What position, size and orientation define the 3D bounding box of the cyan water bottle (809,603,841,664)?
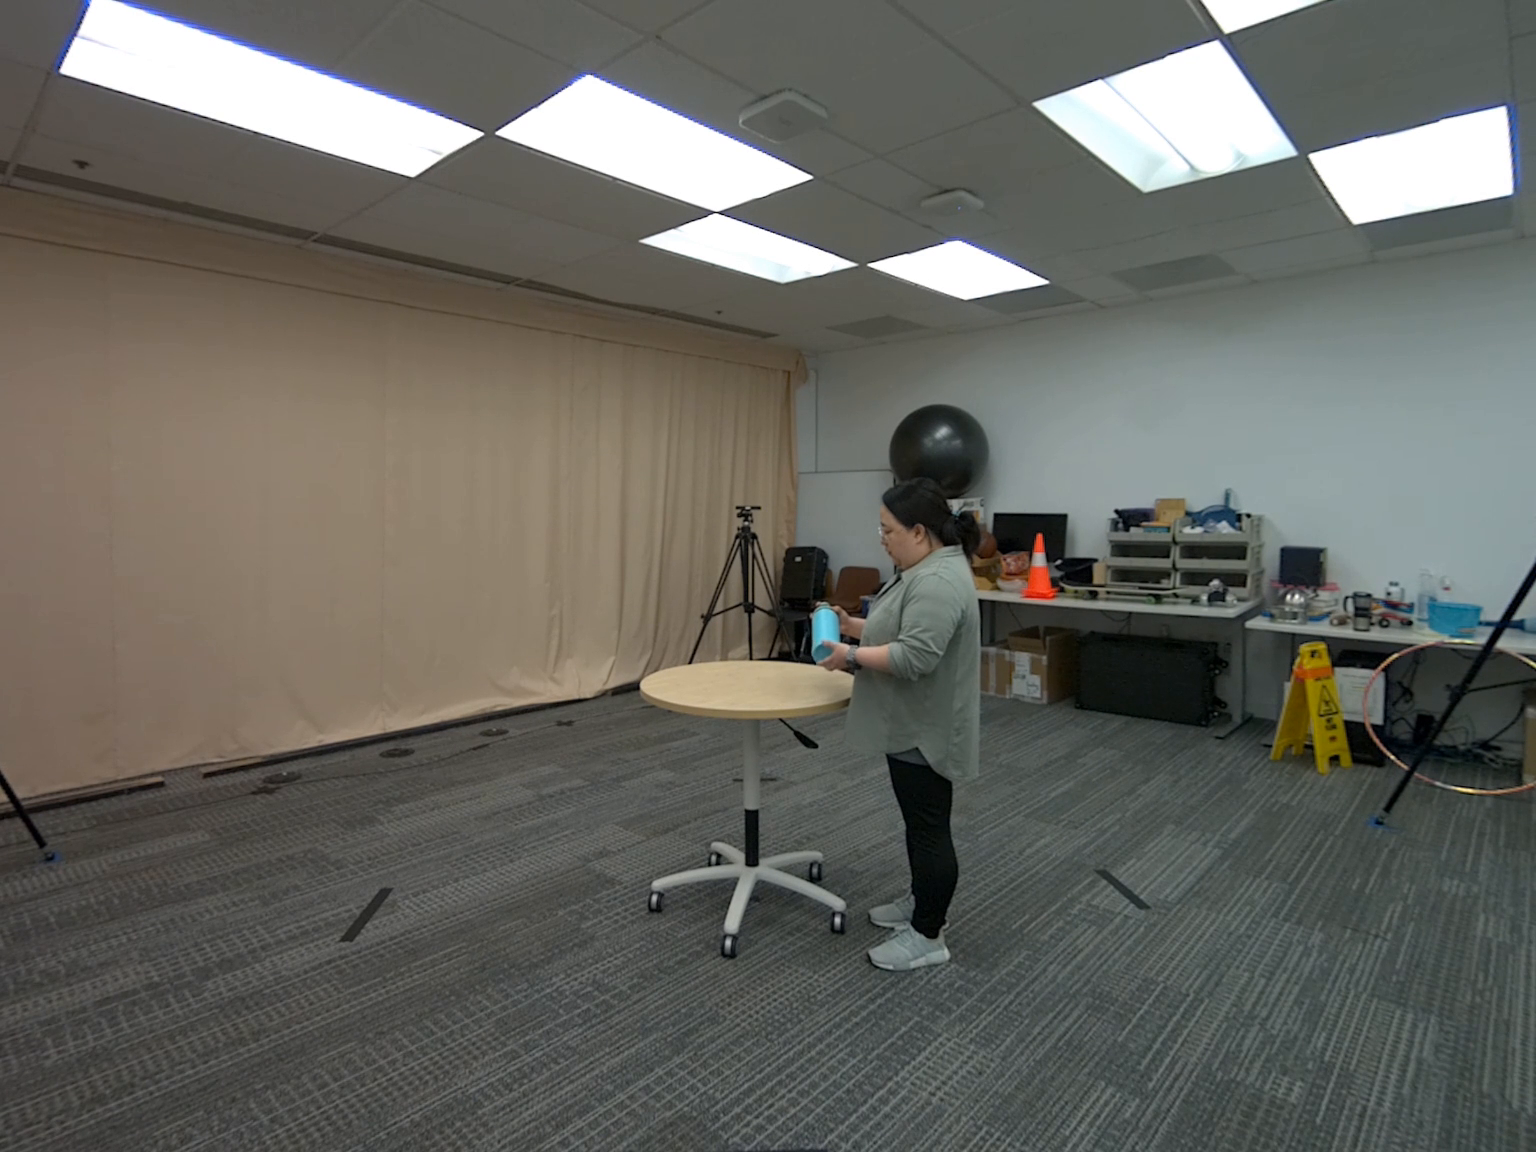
[{"bbox_3d":[0.200,0.186,2.730,0.093,0.091,0.285,0,28,7],"label":"cyan water bottle"}]
